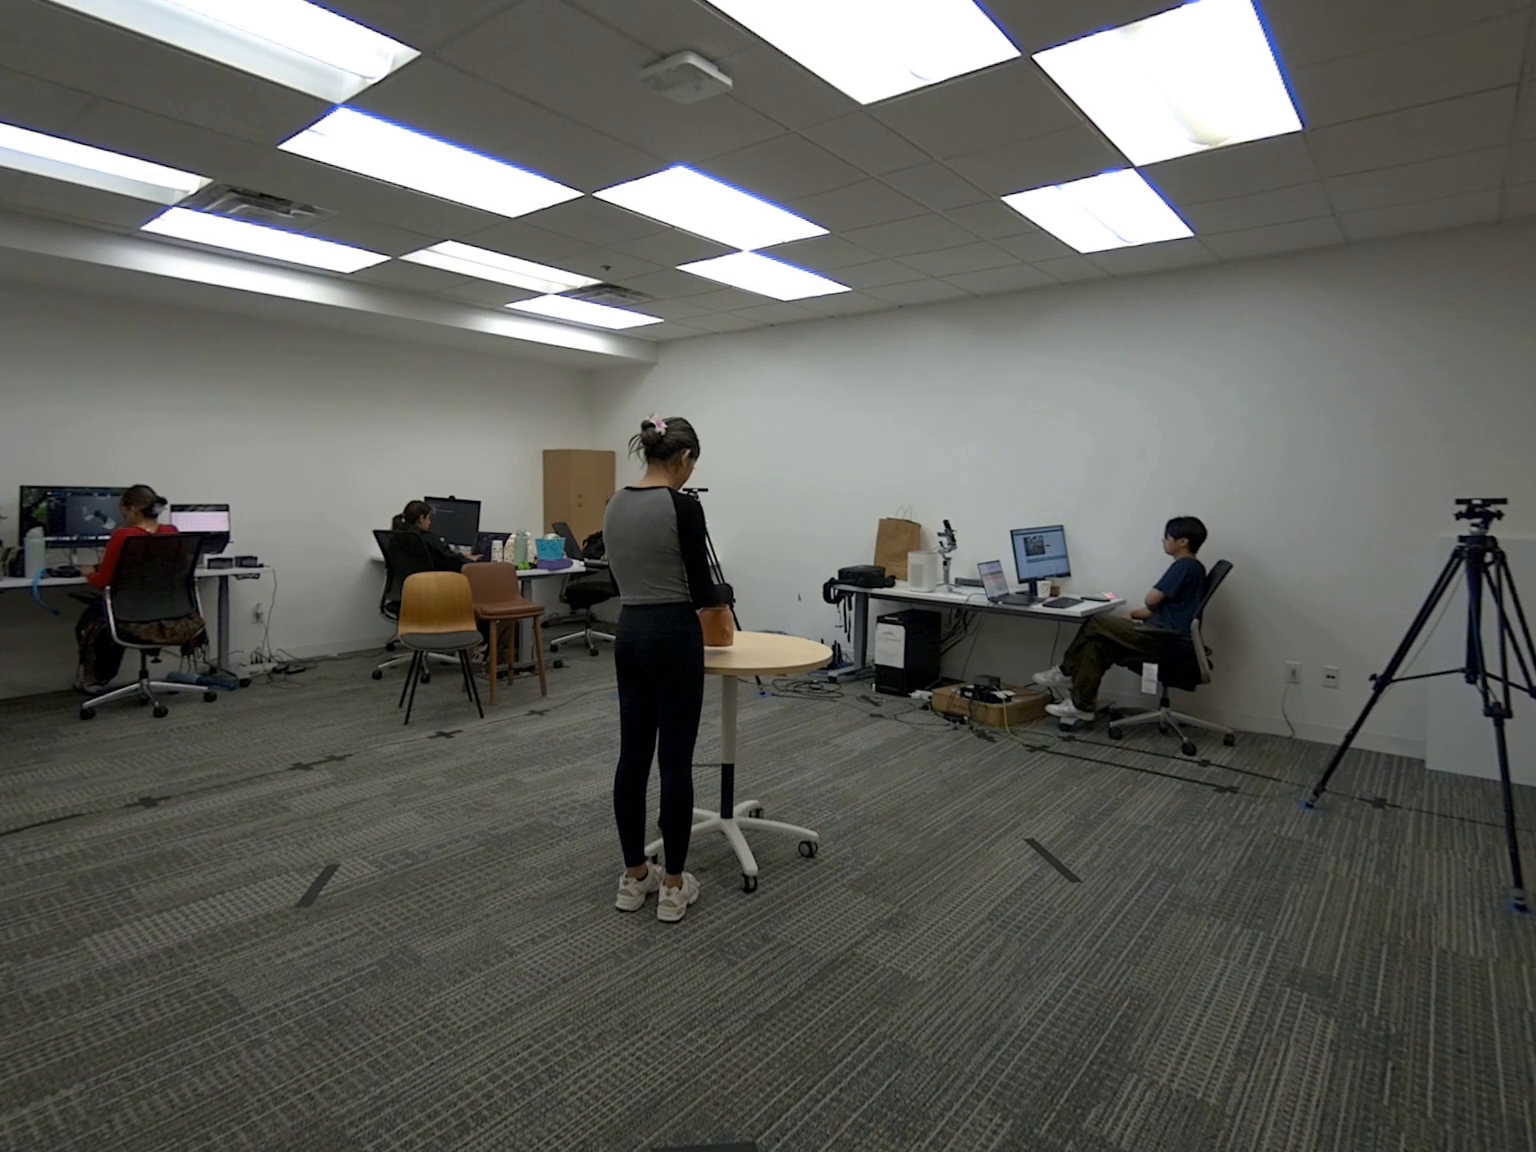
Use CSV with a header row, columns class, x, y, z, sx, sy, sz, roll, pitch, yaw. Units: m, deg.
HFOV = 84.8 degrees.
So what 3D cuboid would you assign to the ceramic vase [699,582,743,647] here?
class,x,y,z,sx,sy,sz,roll,pitch,yaw
ceramic vase,-0.197,0.137,3.108,0.162,0.219,0.132,-1,2,20
